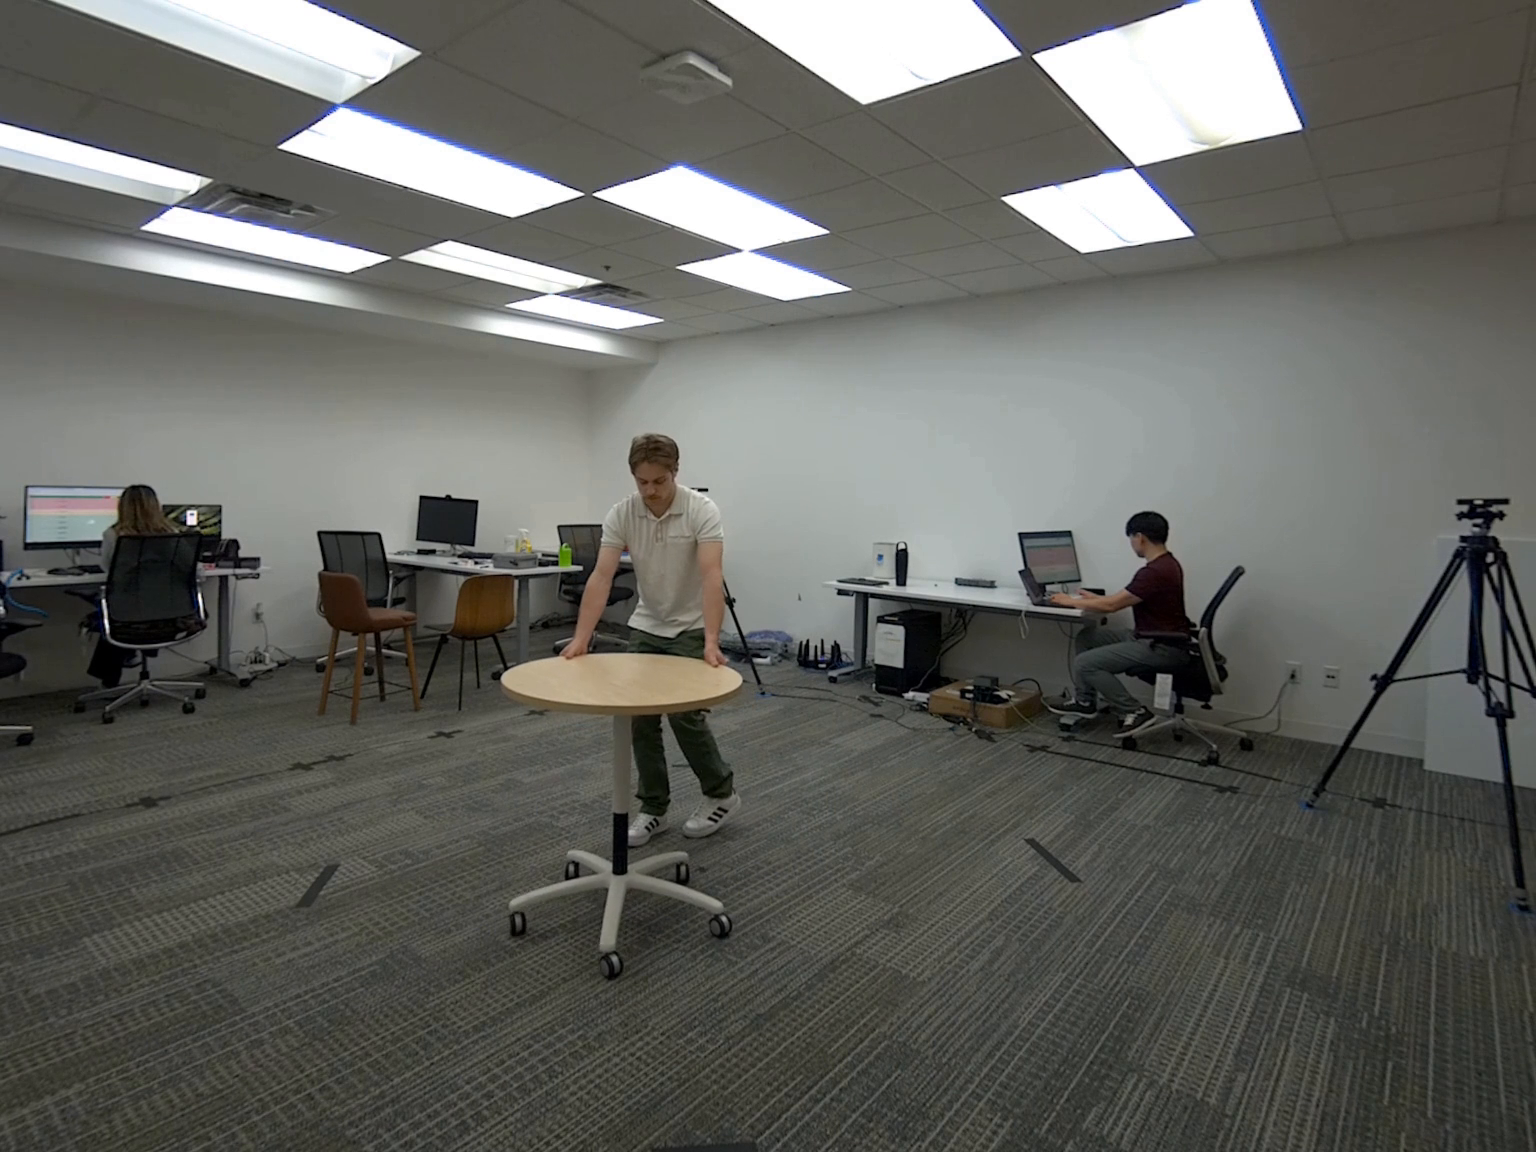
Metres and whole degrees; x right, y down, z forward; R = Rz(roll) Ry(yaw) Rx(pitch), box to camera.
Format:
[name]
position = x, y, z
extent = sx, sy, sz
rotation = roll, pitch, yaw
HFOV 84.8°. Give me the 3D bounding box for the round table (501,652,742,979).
[round table]
position = -0.487, 0.704, 2.755
extent = 0.784, 0.784, 0.789
rotation = 1, 4, -2
